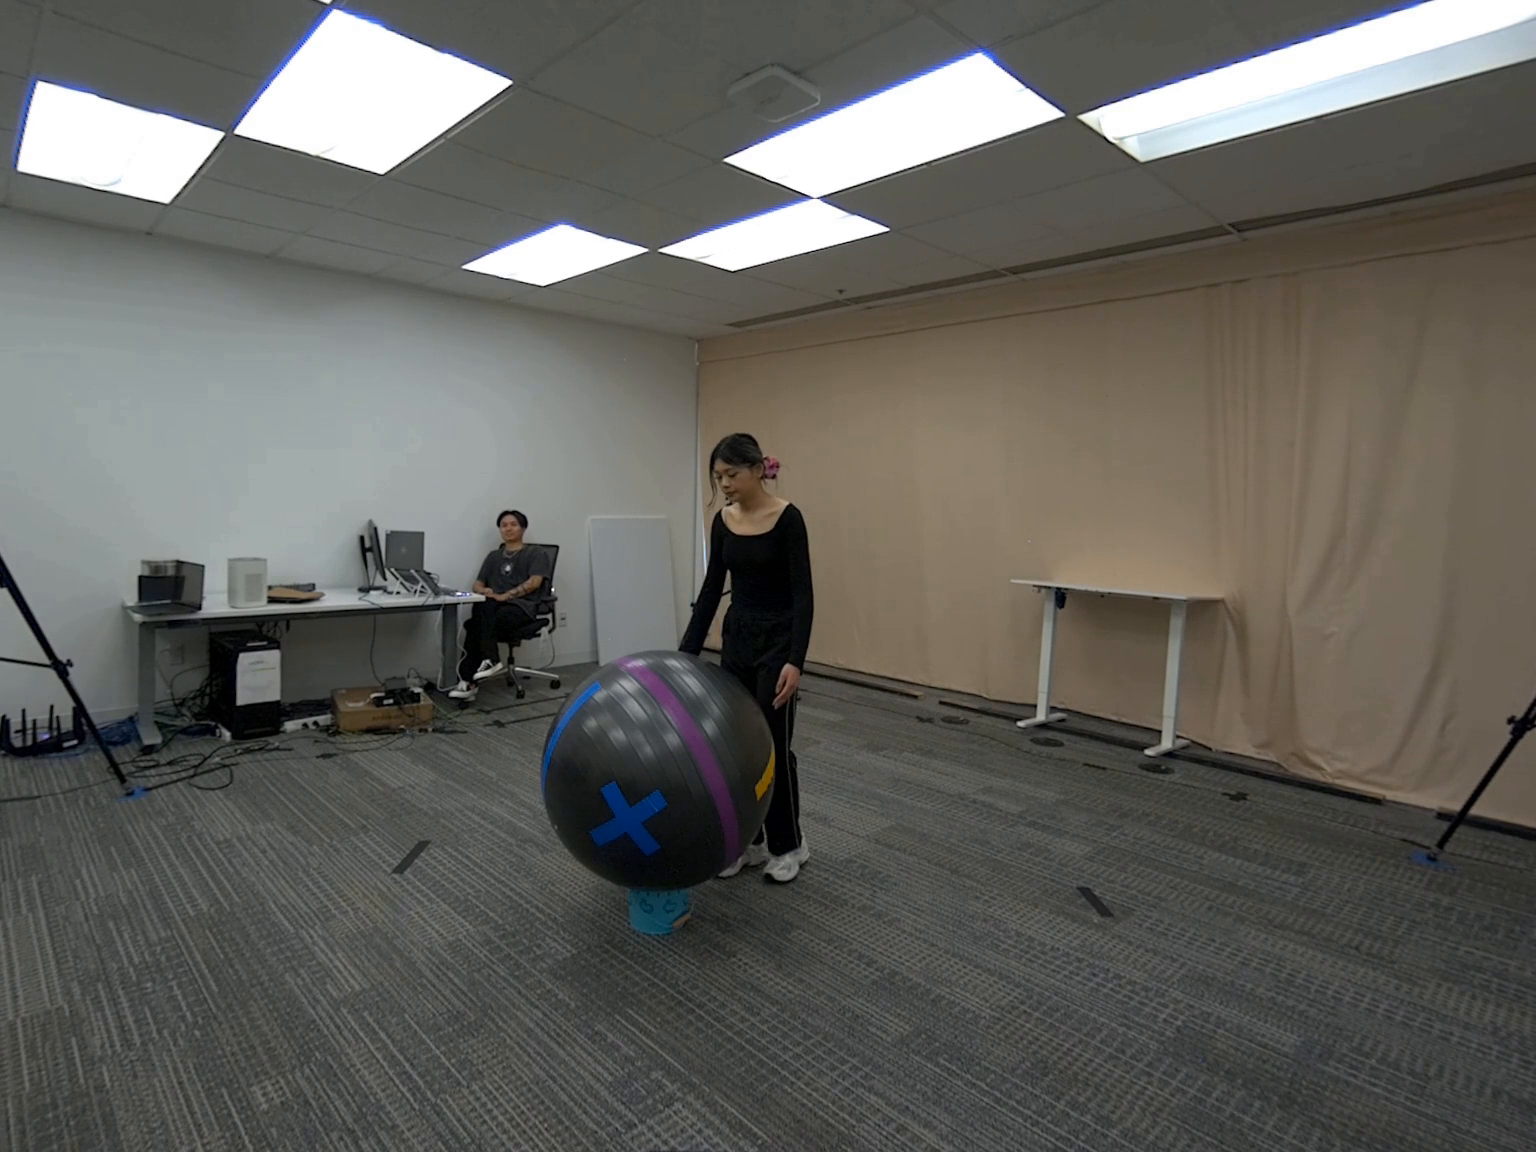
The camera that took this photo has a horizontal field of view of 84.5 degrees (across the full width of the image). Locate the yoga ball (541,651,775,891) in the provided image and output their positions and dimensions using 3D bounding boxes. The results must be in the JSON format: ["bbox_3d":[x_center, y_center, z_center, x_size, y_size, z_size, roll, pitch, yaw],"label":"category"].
[{"bbox_3d":[-0.357,0.622,2.736,0.757,0.756,0.761,1,4,-1],"label":"yoga ball"}]
